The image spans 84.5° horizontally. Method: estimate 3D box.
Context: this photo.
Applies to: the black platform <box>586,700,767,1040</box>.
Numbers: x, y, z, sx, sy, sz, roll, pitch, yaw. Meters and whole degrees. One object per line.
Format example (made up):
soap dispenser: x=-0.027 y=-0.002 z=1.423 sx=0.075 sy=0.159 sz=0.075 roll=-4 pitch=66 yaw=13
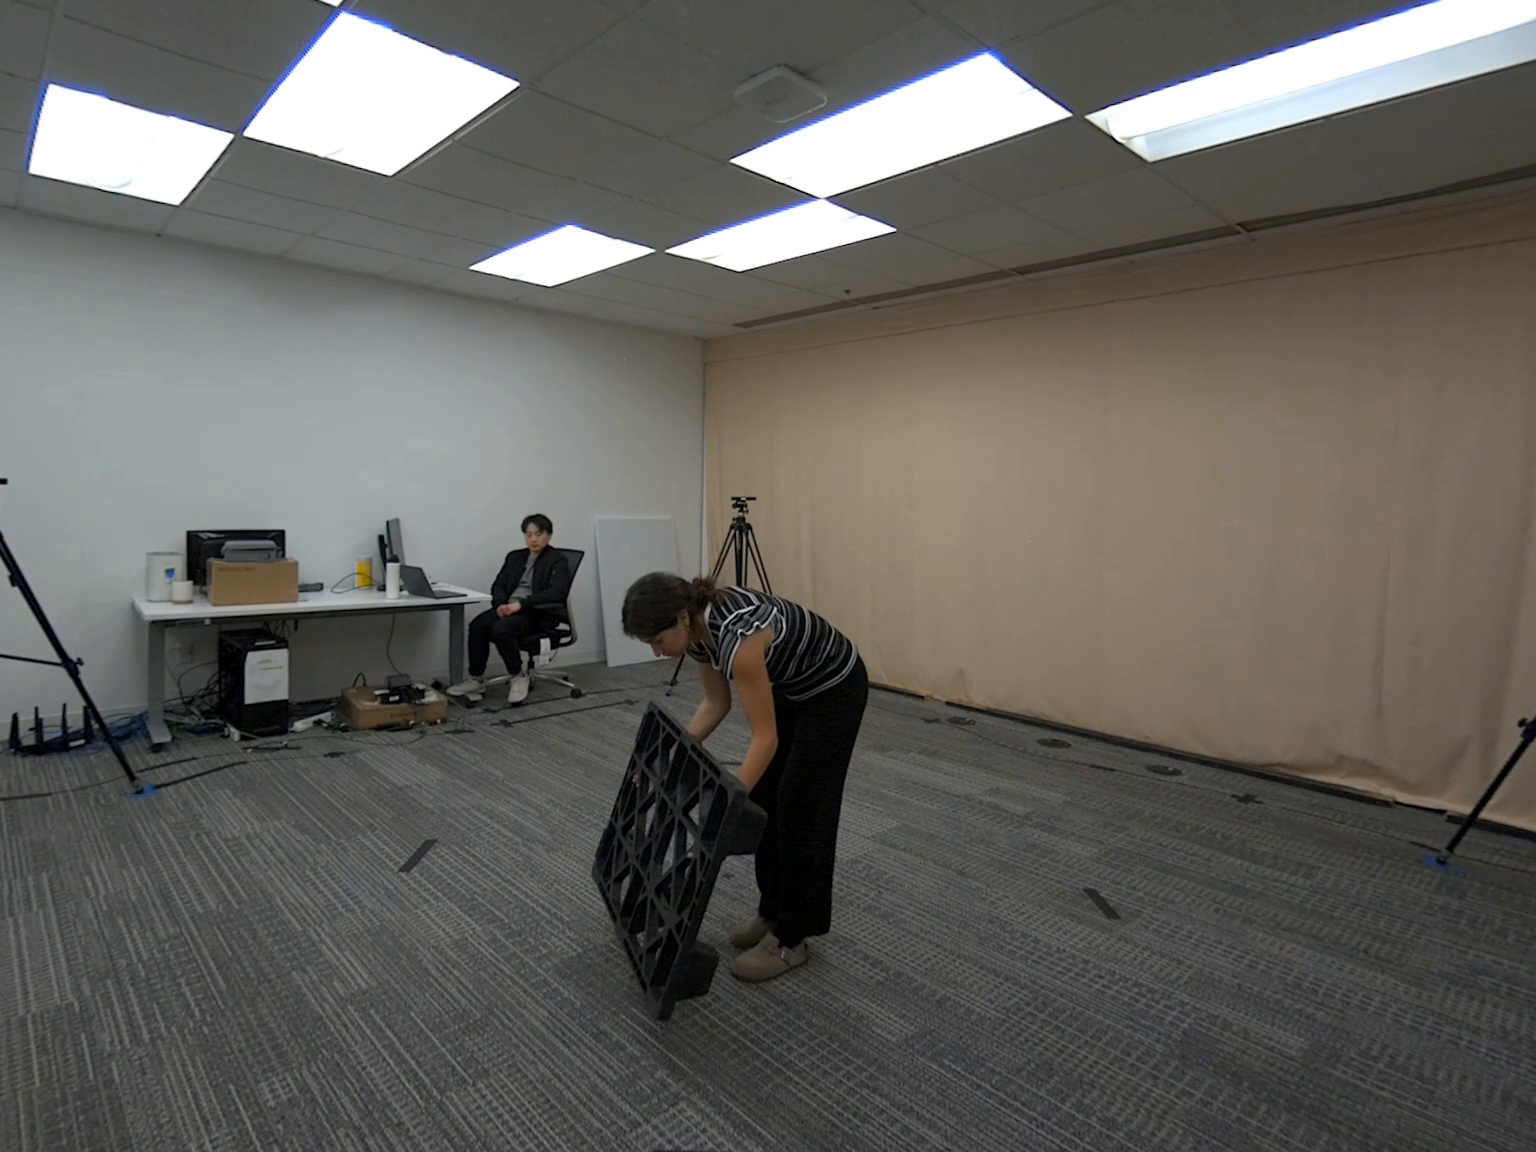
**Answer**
black platform: x=-0.282 y=0.766 z=2.419 sx=0.140 sy=0.605 sz=0.821 roll=20 pitch=-1 yaw=-23
